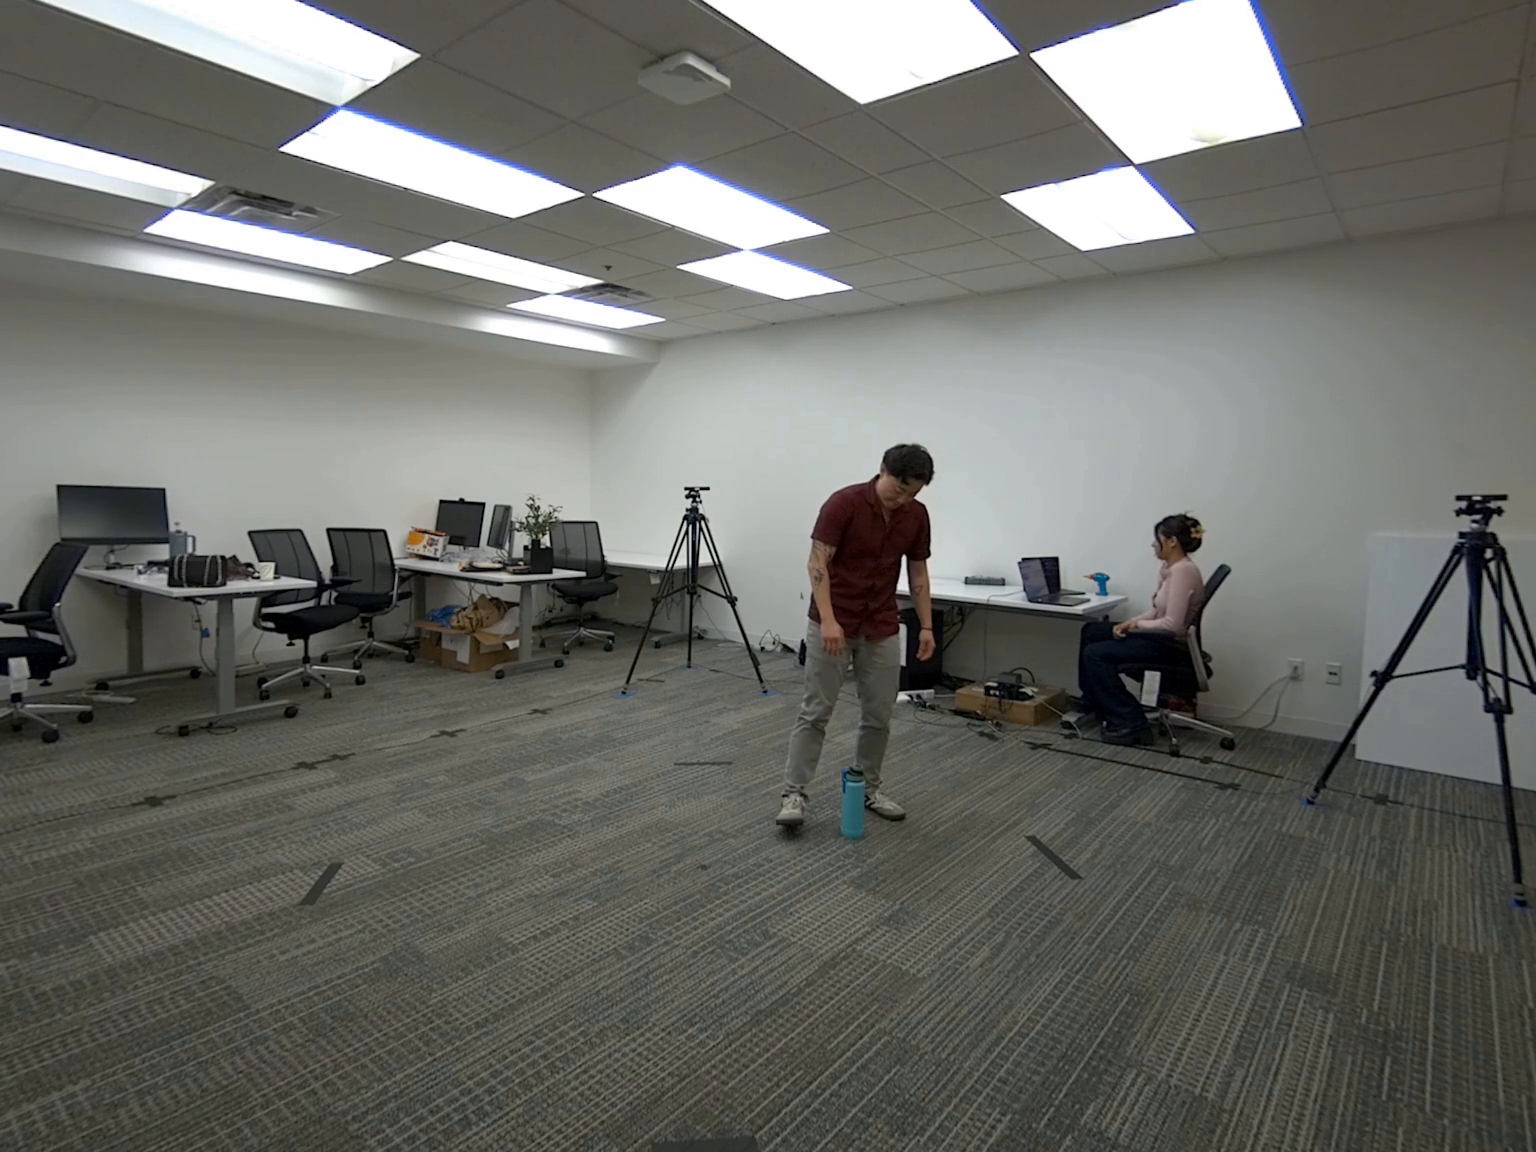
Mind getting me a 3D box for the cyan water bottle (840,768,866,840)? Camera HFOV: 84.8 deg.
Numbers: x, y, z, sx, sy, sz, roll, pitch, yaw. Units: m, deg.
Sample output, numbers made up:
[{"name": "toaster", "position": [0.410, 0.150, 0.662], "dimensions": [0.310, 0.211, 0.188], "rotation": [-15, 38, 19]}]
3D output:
[{"name": "cyan water bottle", "position": [0.331, 0.905, 3.435], "dimensions": [0.092, 0.282, 0.093], "rotation": [2, 3, -2]}]
